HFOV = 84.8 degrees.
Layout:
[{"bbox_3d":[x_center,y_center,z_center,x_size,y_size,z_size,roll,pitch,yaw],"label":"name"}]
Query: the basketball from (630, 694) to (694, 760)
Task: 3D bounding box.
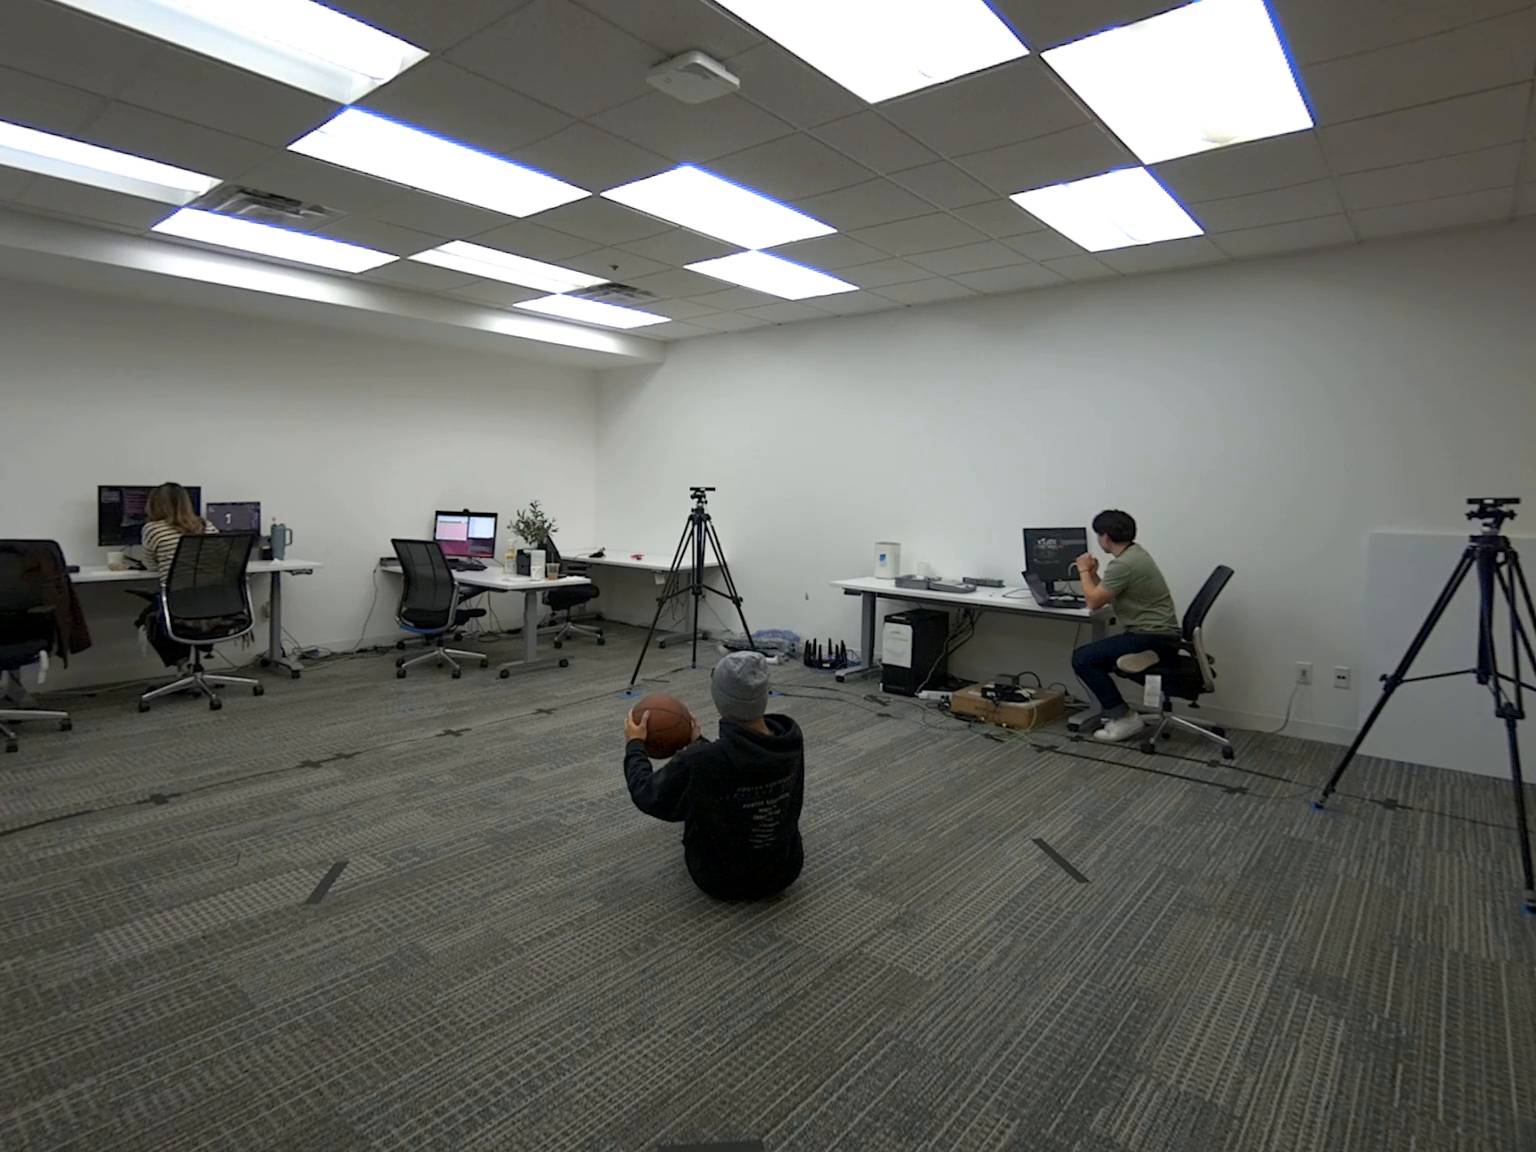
[{"bbox_3d":[-0.407,0.557,3.178,0.235,0.235,0.237,1,4,-2],"label":"basketball"}]
